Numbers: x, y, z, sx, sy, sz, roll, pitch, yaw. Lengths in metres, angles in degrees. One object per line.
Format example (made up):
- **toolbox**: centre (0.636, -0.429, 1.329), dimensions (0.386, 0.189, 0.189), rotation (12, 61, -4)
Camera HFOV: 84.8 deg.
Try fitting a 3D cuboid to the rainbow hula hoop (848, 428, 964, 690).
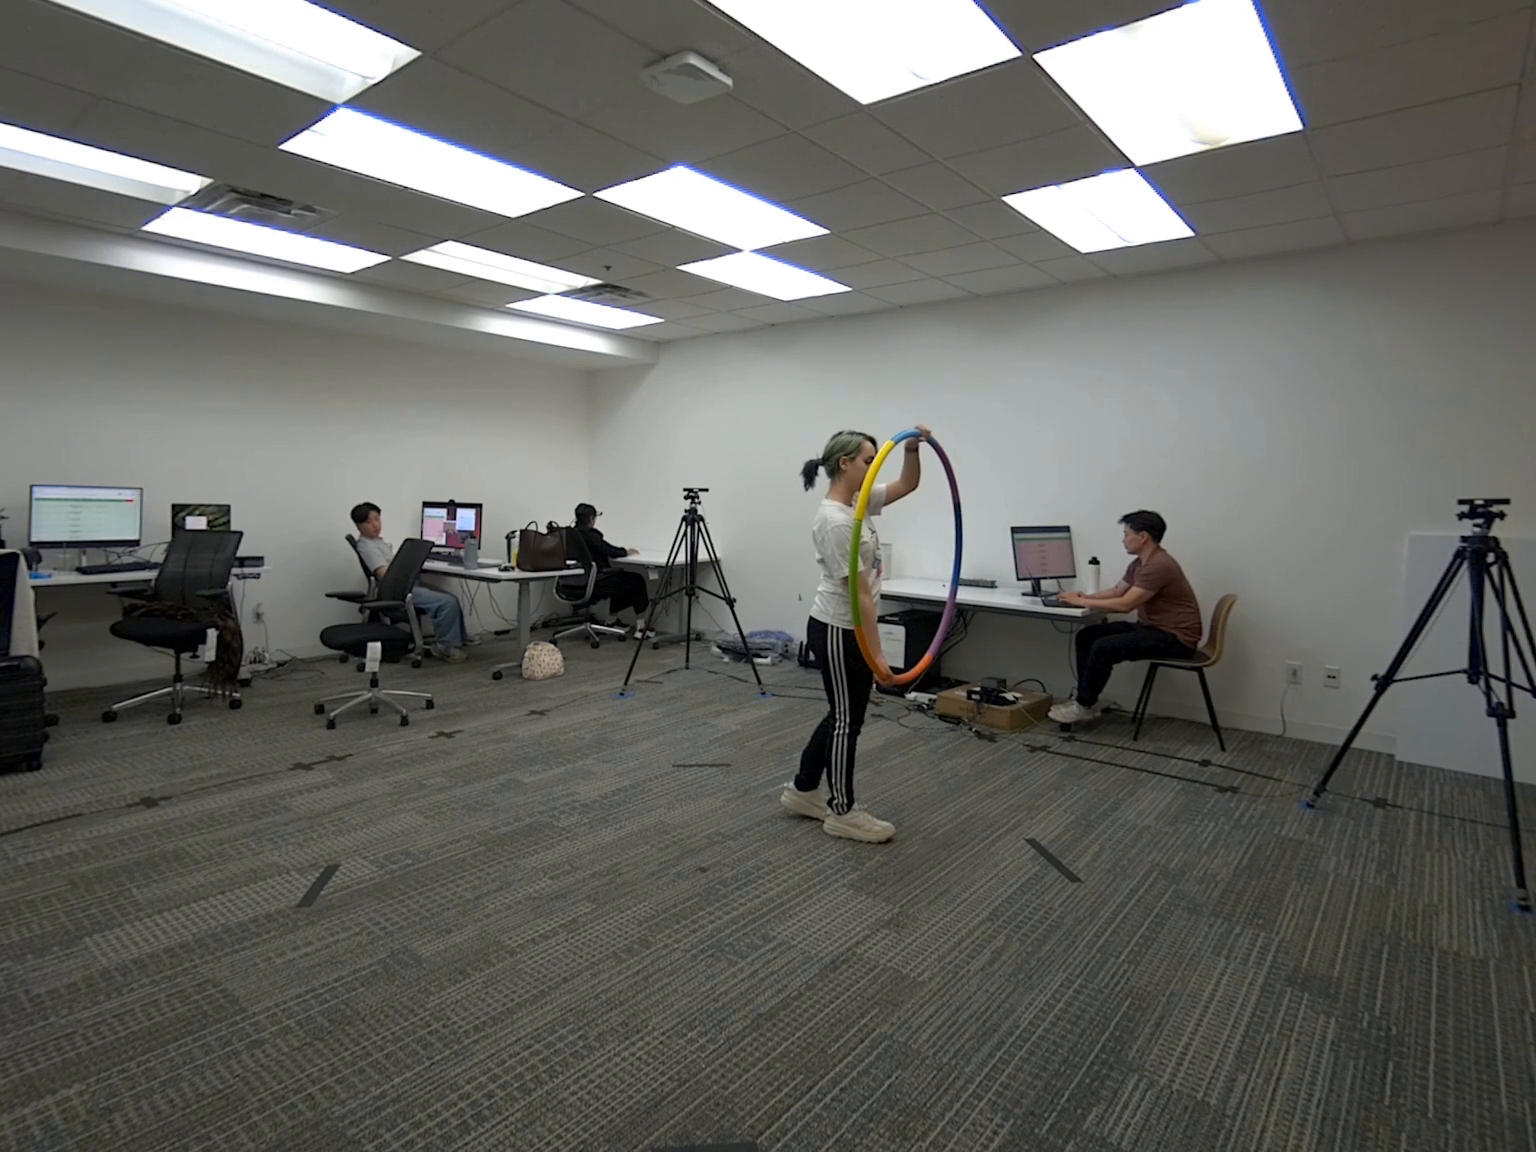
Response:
- **rainbow hula hoop**: centre (0.560, -0.077, 3.326), dimensions (0.037, 0.975, 0.951), rotation (5, 6, 35)
